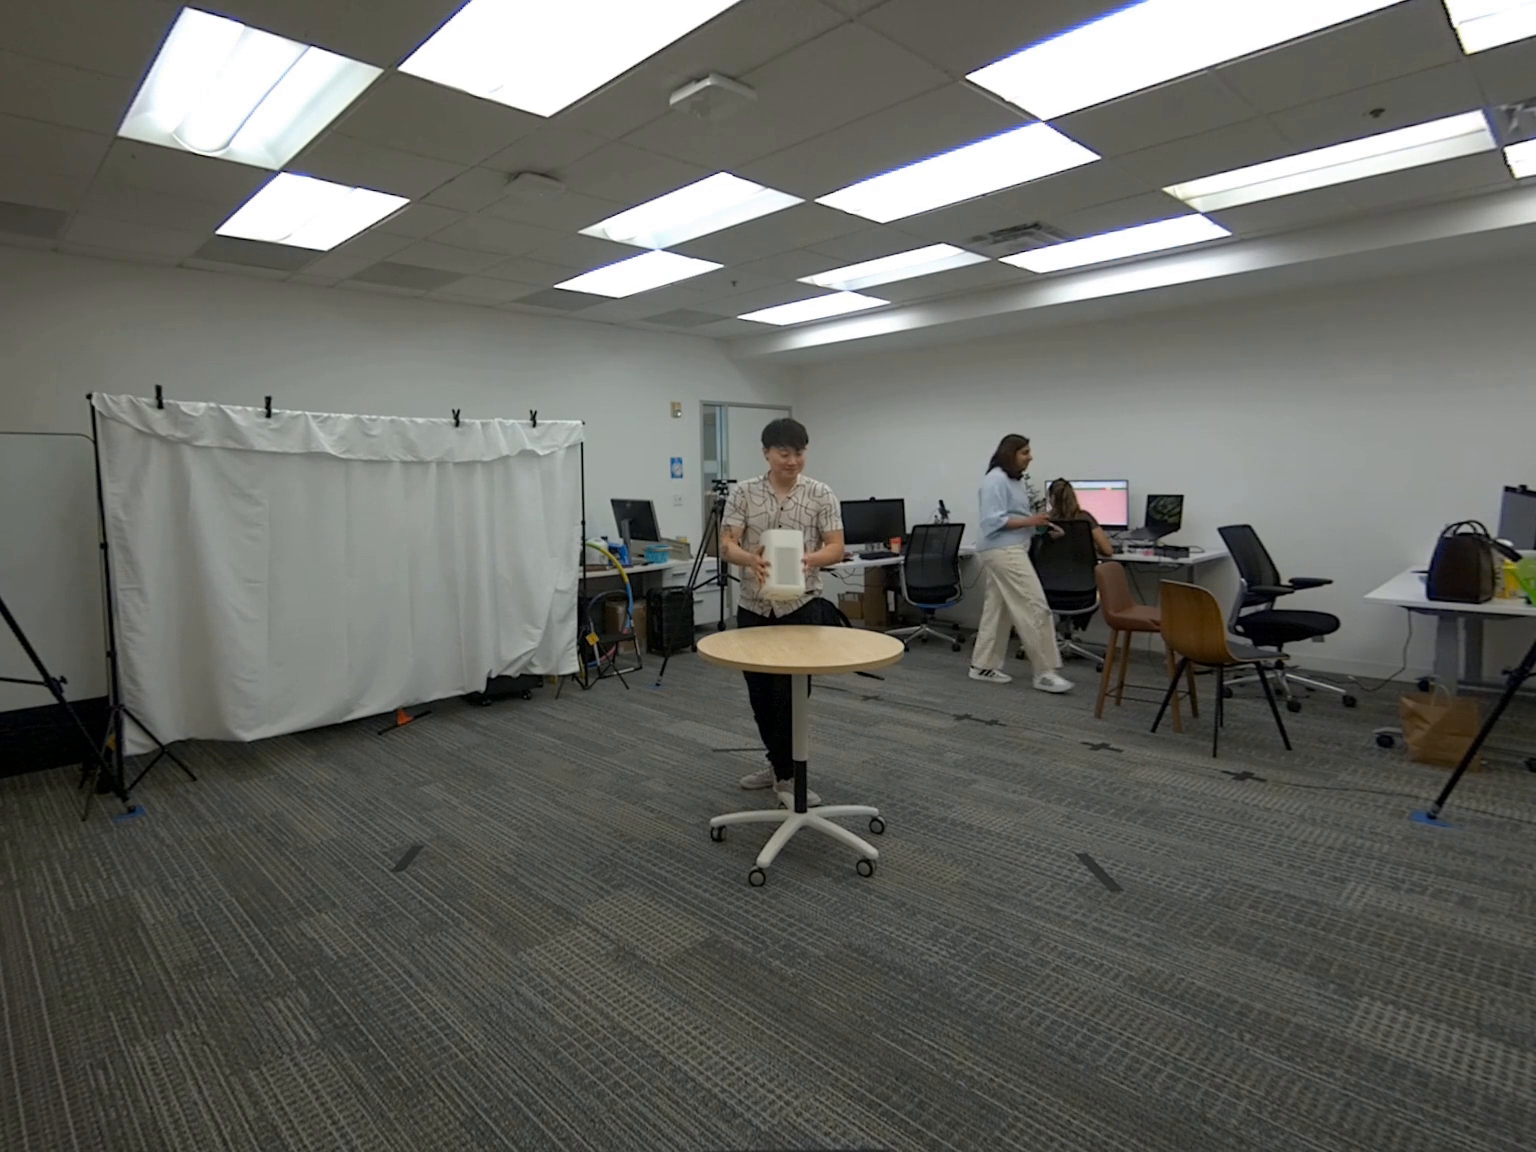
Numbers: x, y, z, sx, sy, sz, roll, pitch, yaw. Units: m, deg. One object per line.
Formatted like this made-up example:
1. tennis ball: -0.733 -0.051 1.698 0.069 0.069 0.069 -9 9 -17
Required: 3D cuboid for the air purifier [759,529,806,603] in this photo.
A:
1. air purifier: 0.054 -0.041 3.470 0.171 0.269 0.169 -1 -15 -5
